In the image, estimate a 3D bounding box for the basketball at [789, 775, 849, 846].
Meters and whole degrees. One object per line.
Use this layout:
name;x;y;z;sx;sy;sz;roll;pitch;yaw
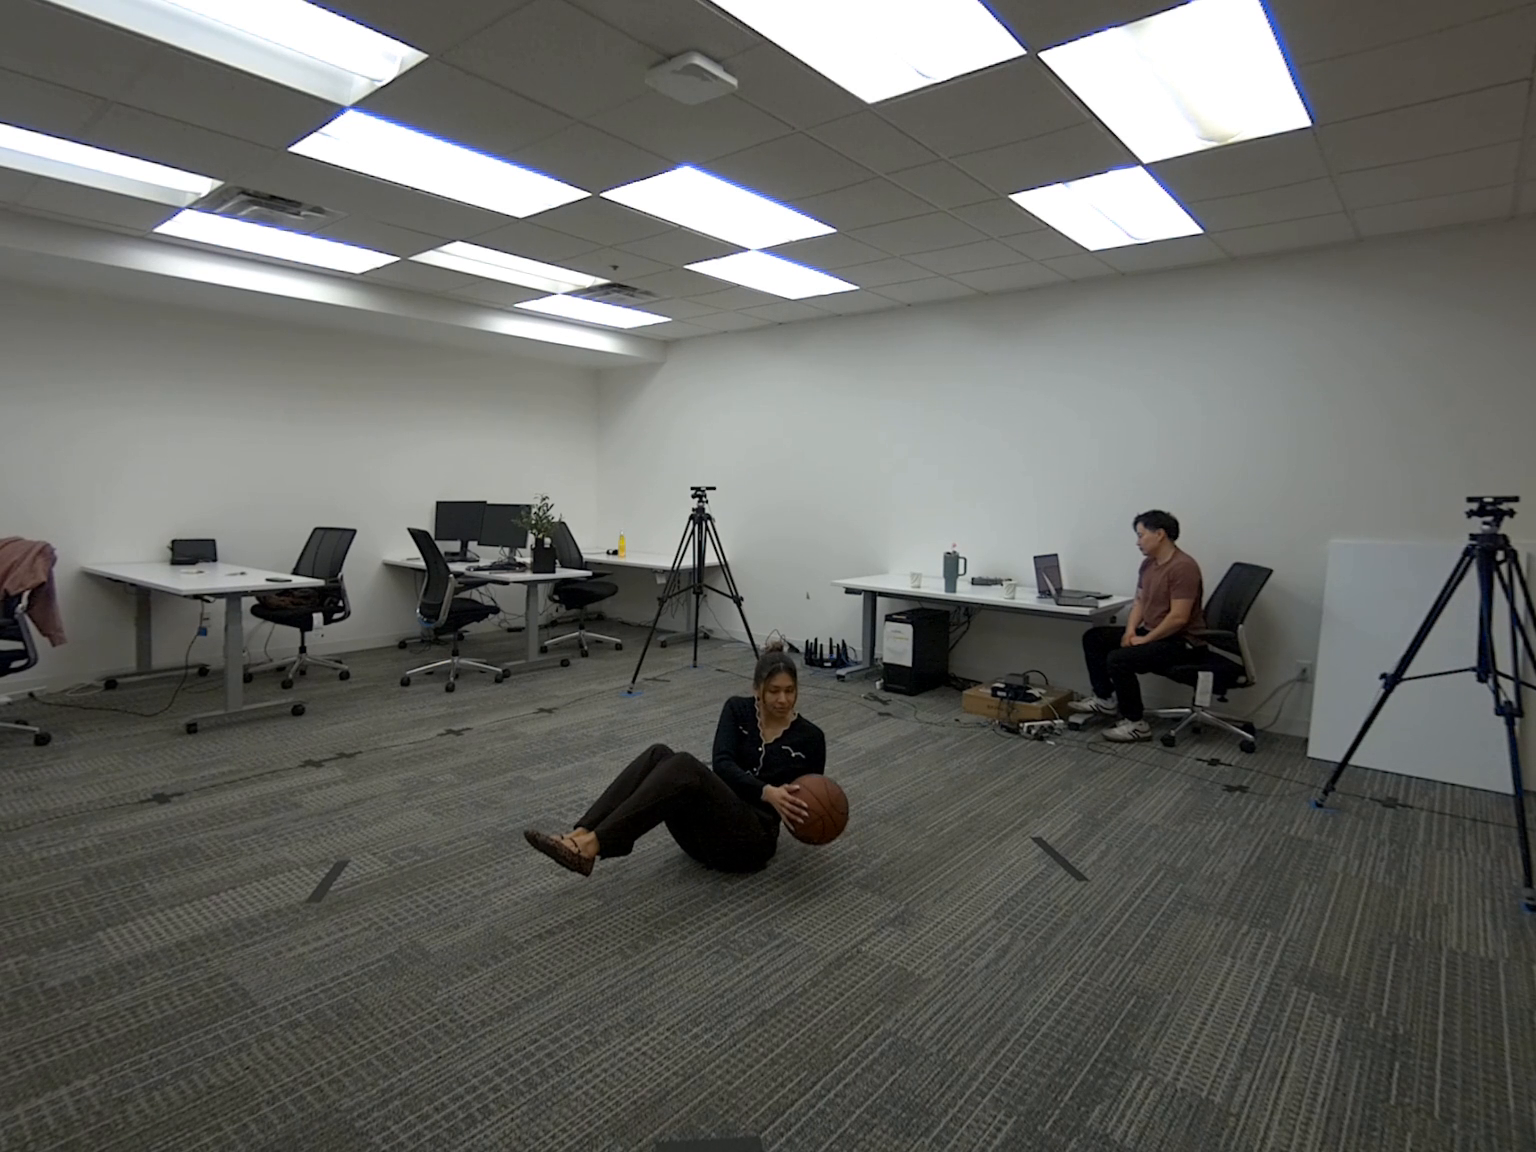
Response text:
basketball;0.145;0.795;2.967;0.235;0.235;0.237;1;4;-2
